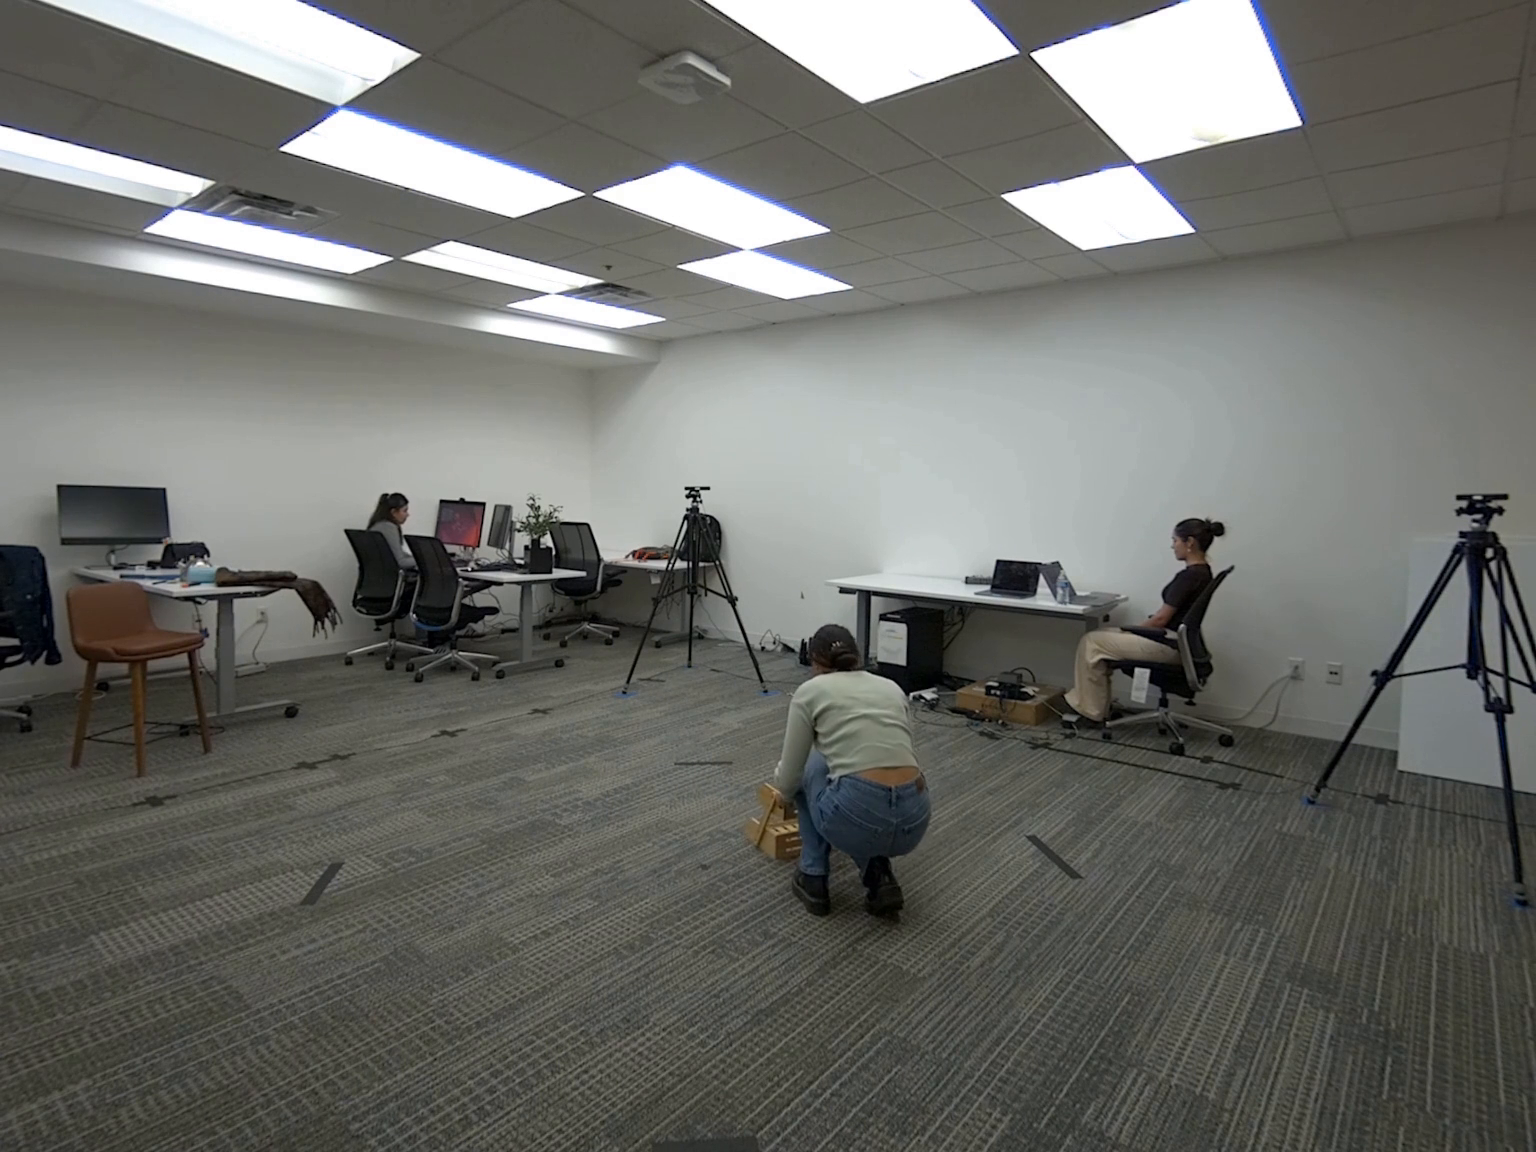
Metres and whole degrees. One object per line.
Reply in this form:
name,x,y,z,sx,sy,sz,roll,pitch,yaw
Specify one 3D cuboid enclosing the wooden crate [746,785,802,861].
wooden crate,0.096,0.911,3.336,0.316,0.272,0.311,-1,5,-29
